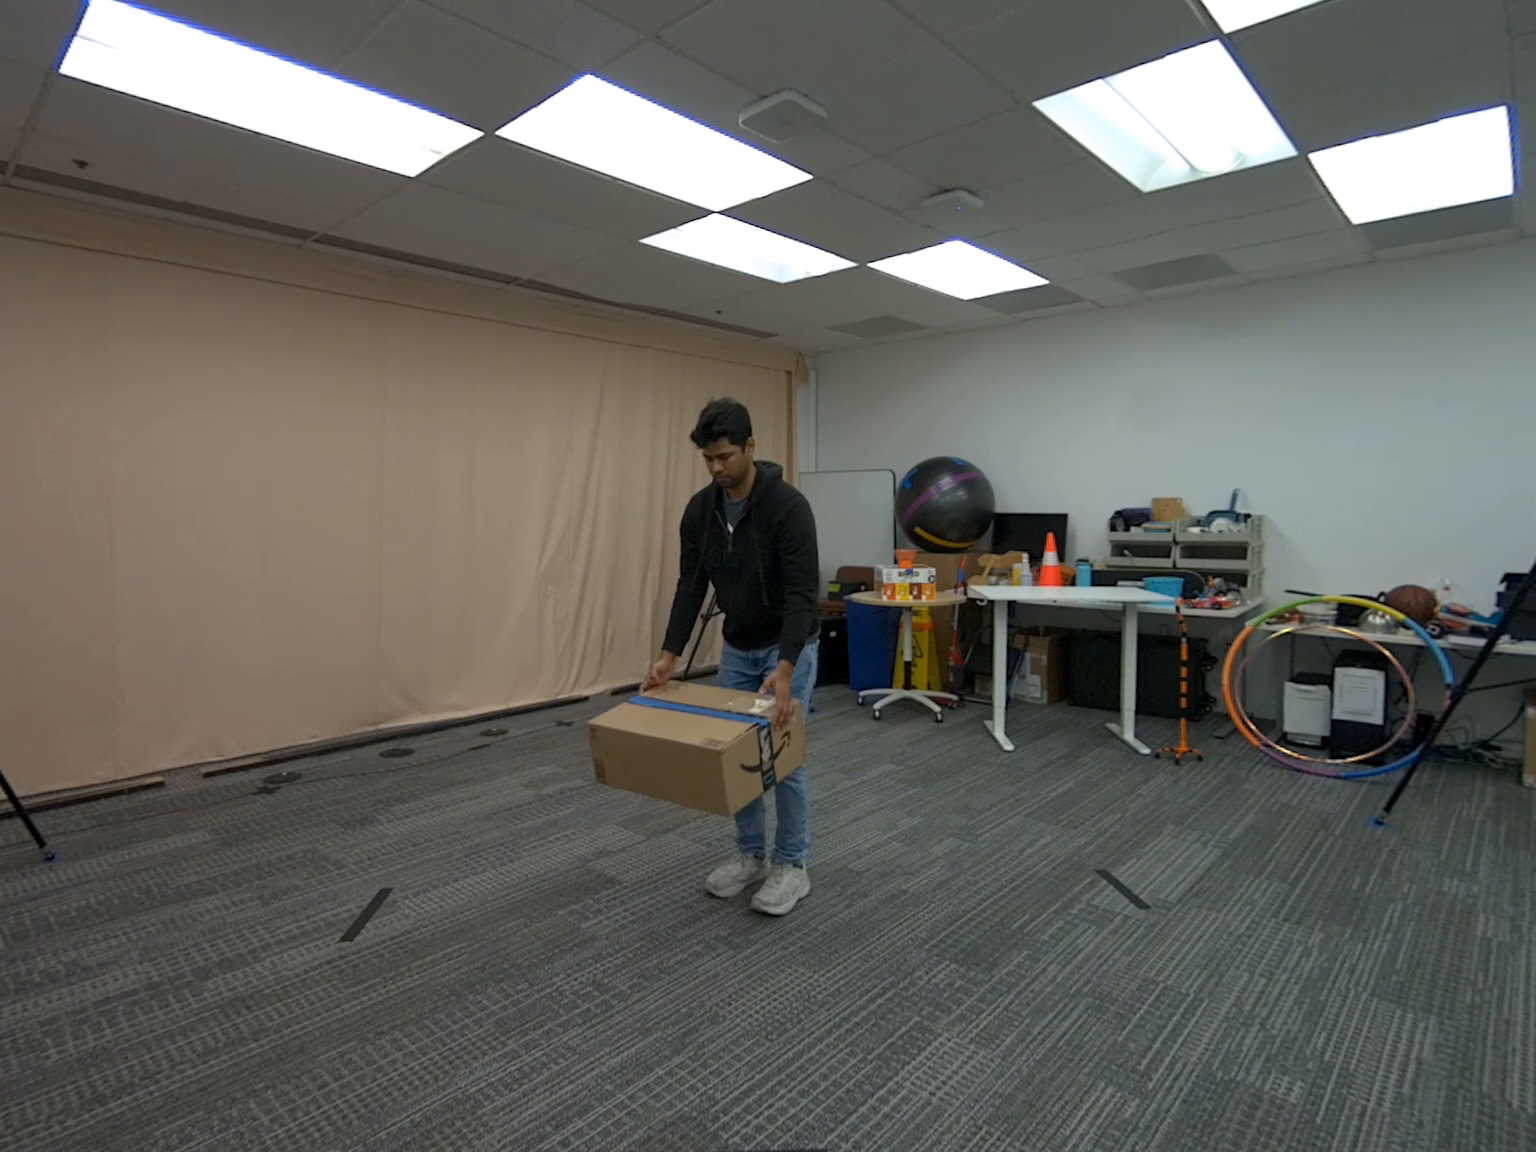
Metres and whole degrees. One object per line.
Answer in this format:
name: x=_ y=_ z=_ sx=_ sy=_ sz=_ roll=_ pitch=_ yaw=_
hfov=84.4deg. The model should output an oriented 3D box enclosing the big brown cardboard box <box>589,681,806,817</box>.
big brown cardboard box: x=-0.225 y=0.543 z=2.739 sx=0.608 sy=0.231 sz=0.408 roll=1 pitch=14 yaw=37
